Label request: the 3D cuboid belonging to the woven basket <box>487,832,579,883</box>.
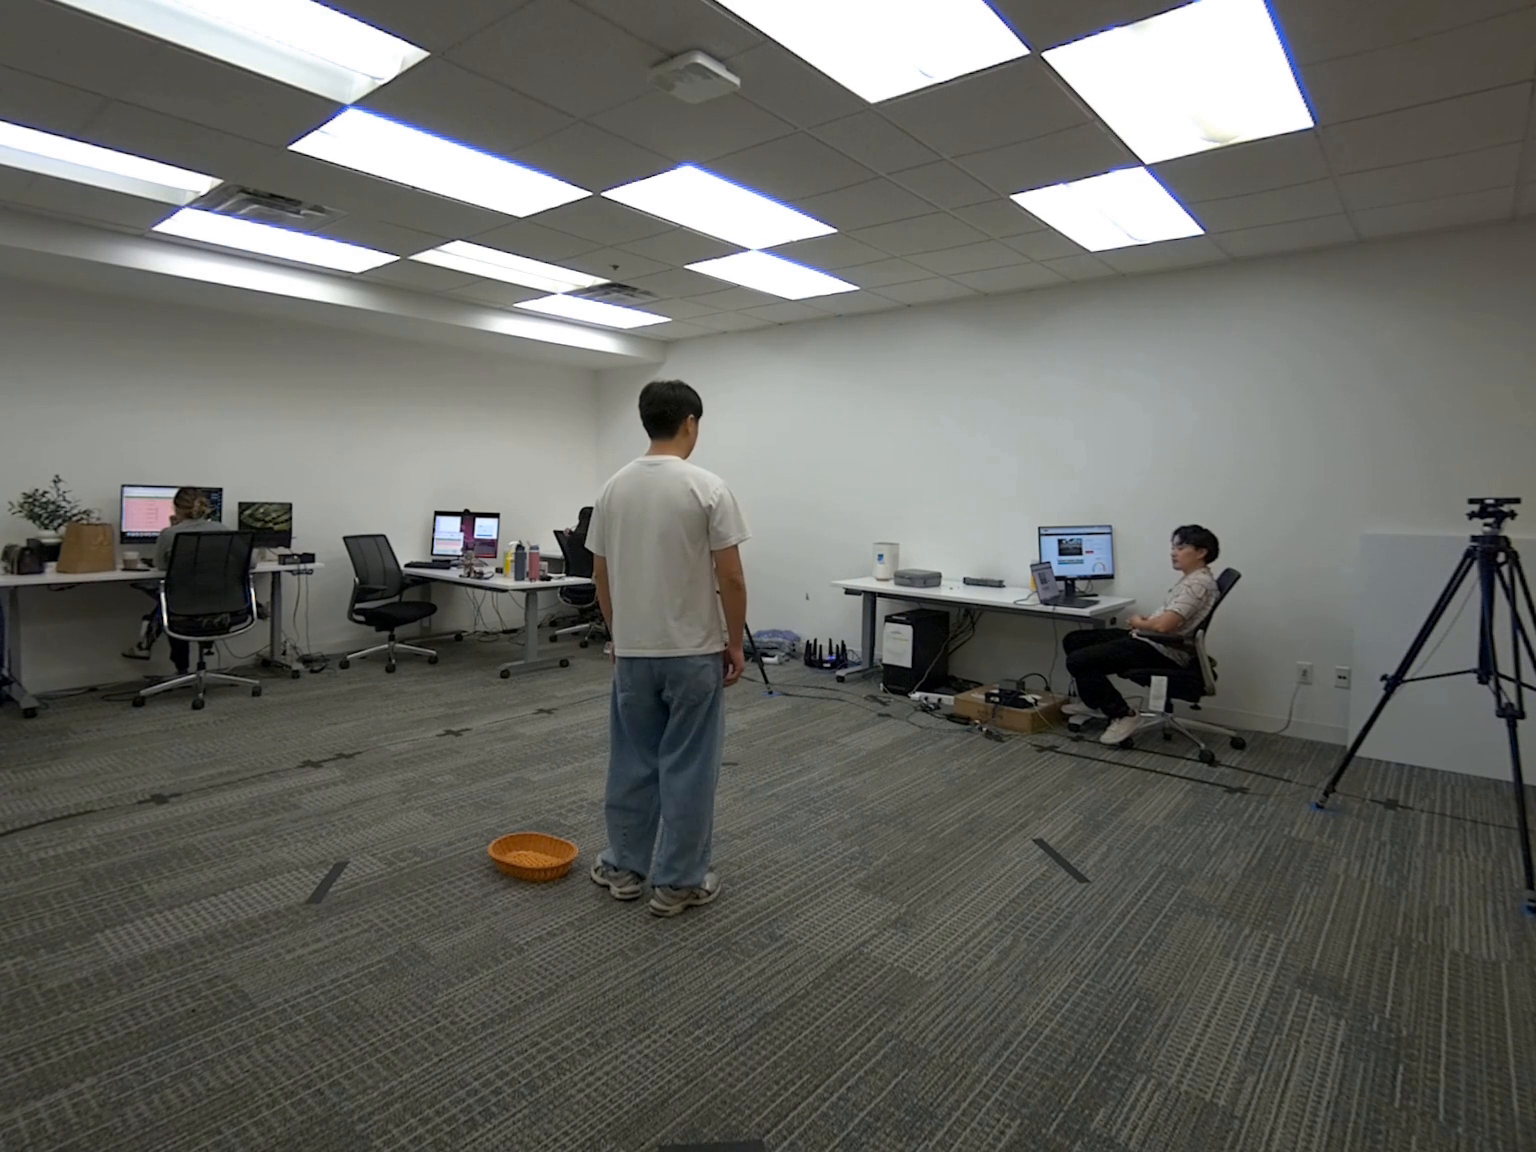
[{"bbox_3d":[-0.864,1.018,3.084,0.361,0.073,0.246,5,7,31],"label":"woven basket"}]
